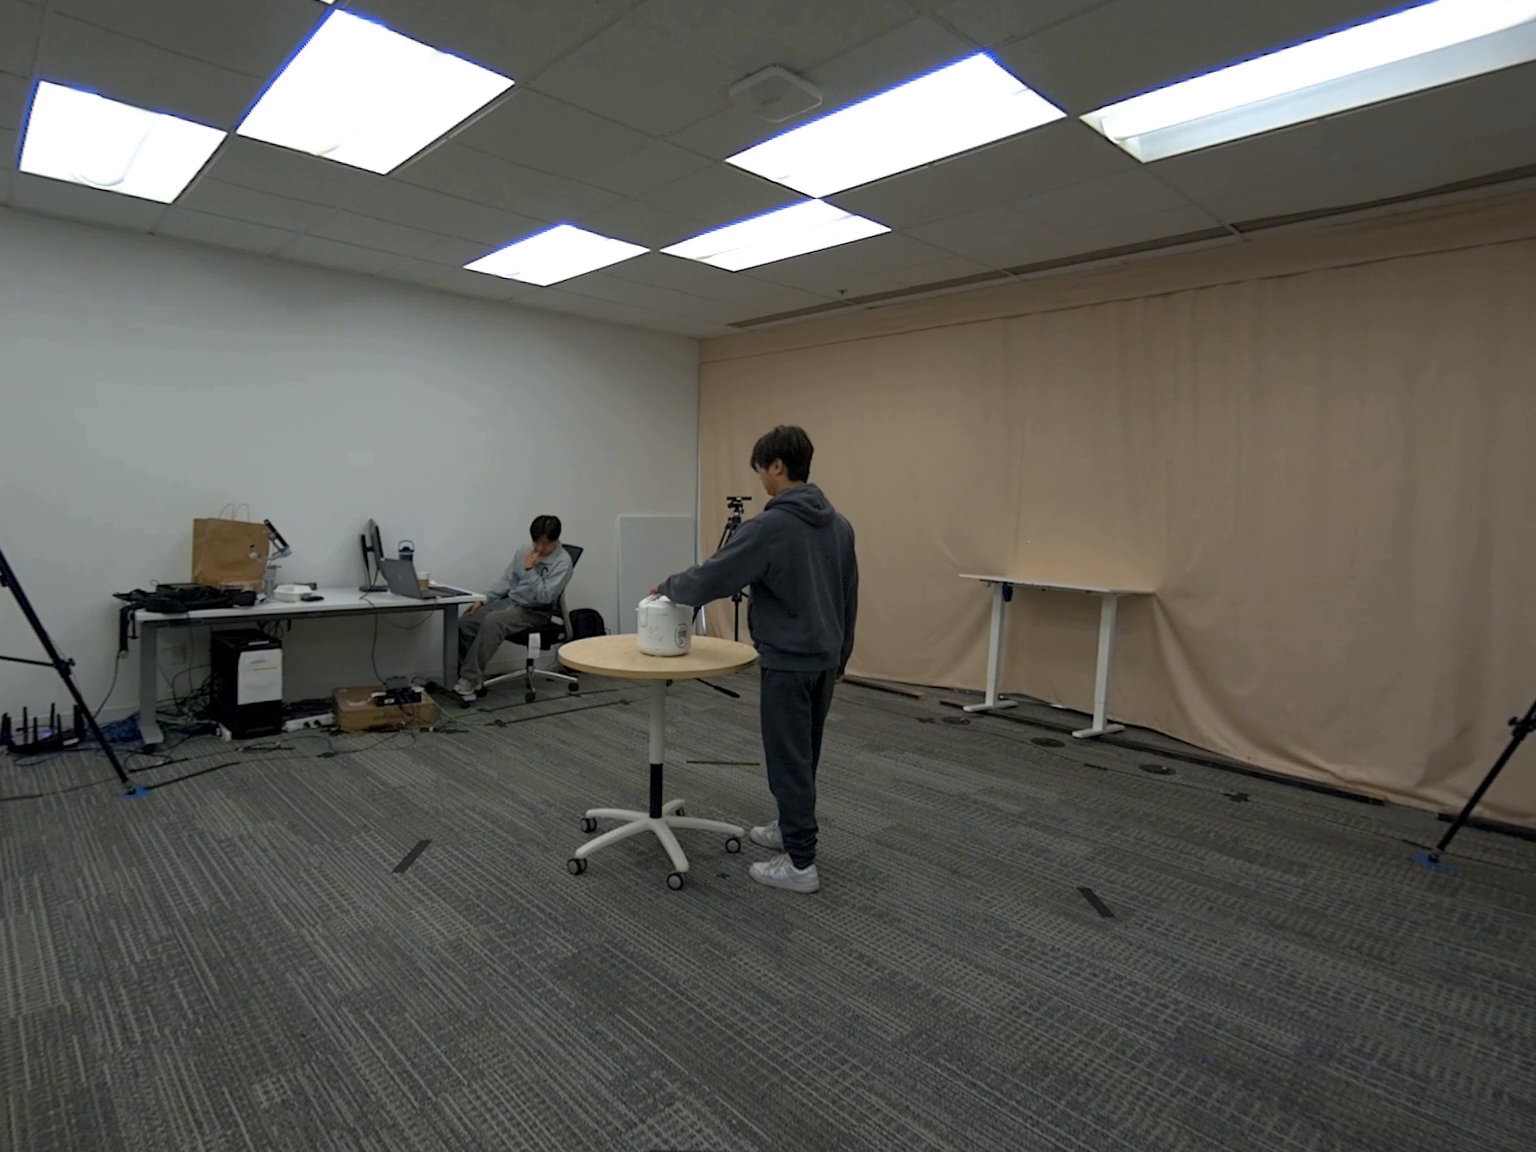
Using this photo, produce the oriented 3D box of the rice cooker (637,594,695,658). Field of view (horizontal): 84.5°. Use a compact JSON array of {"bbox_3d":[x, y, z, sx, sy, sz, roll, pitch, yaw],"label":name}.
[{"bbox_3d":[-0.393,0.177,3.210,0.215,0.232,0.223,-3,6,-43],"label":"rice cooker"}]
